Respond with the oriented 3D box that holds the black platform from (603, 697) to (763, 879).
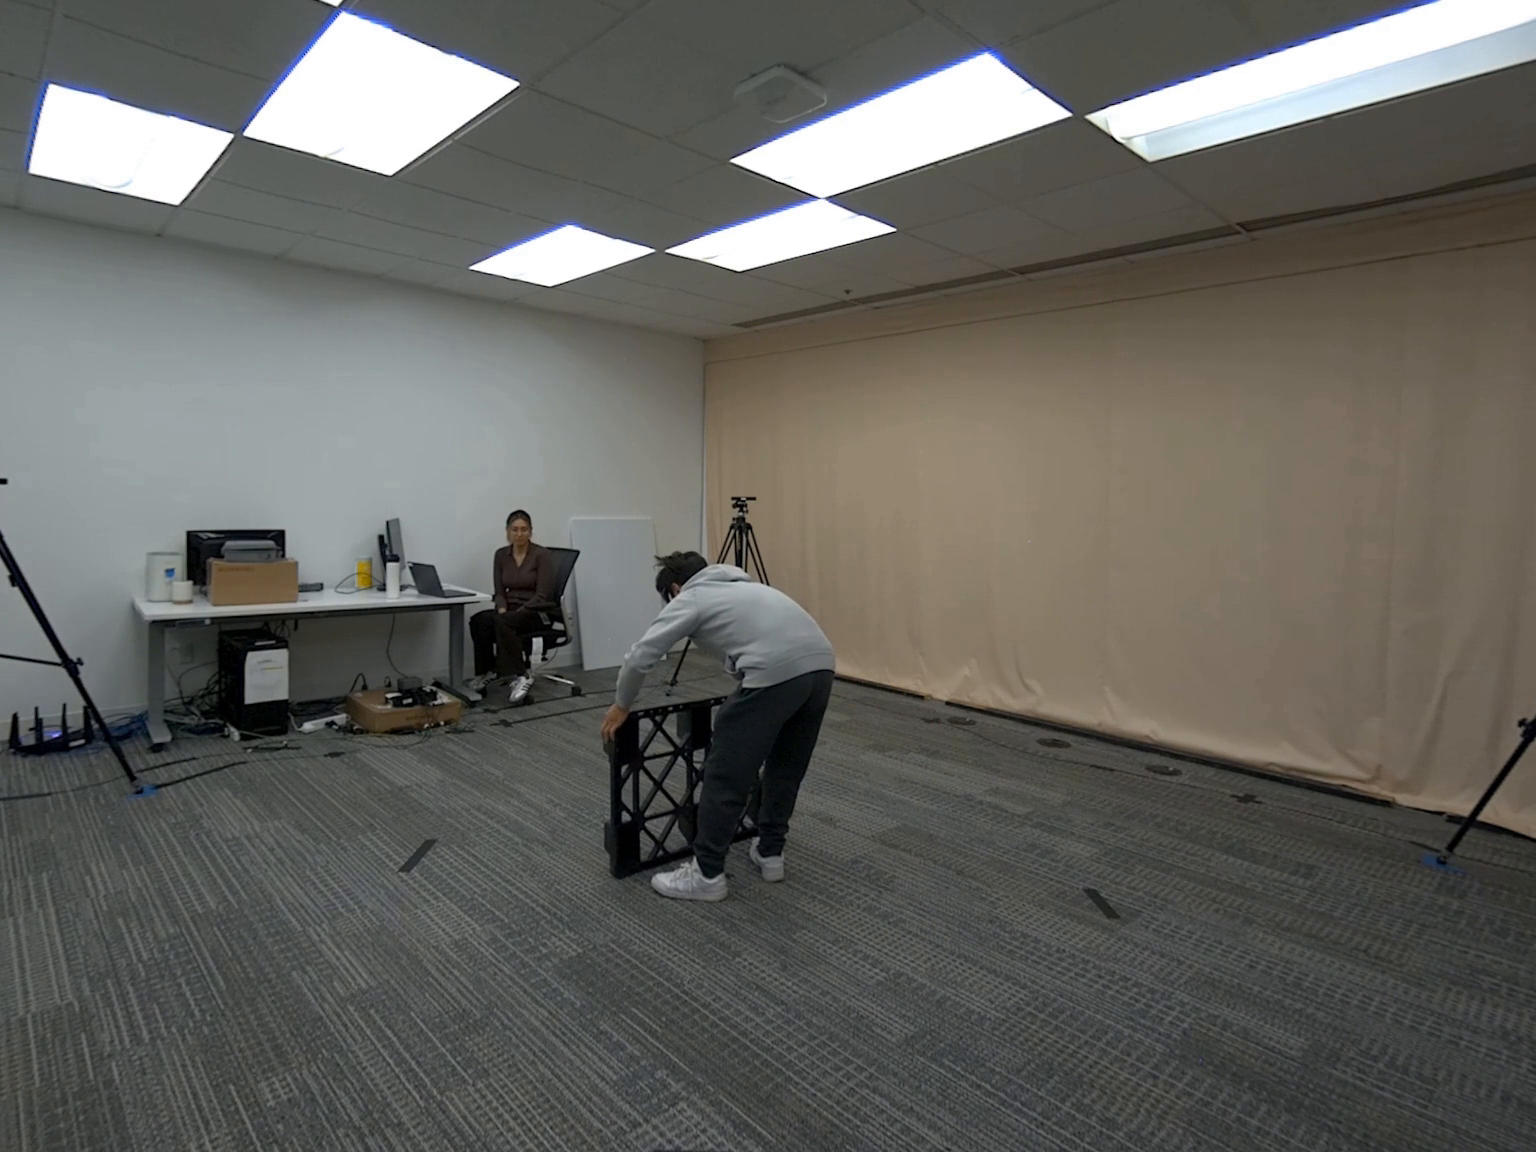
[{"bbox_3d":[-0.310,0.779,3.340,0.787,0.604,0.147,-2,2,-41],"label":"black platform"}]
